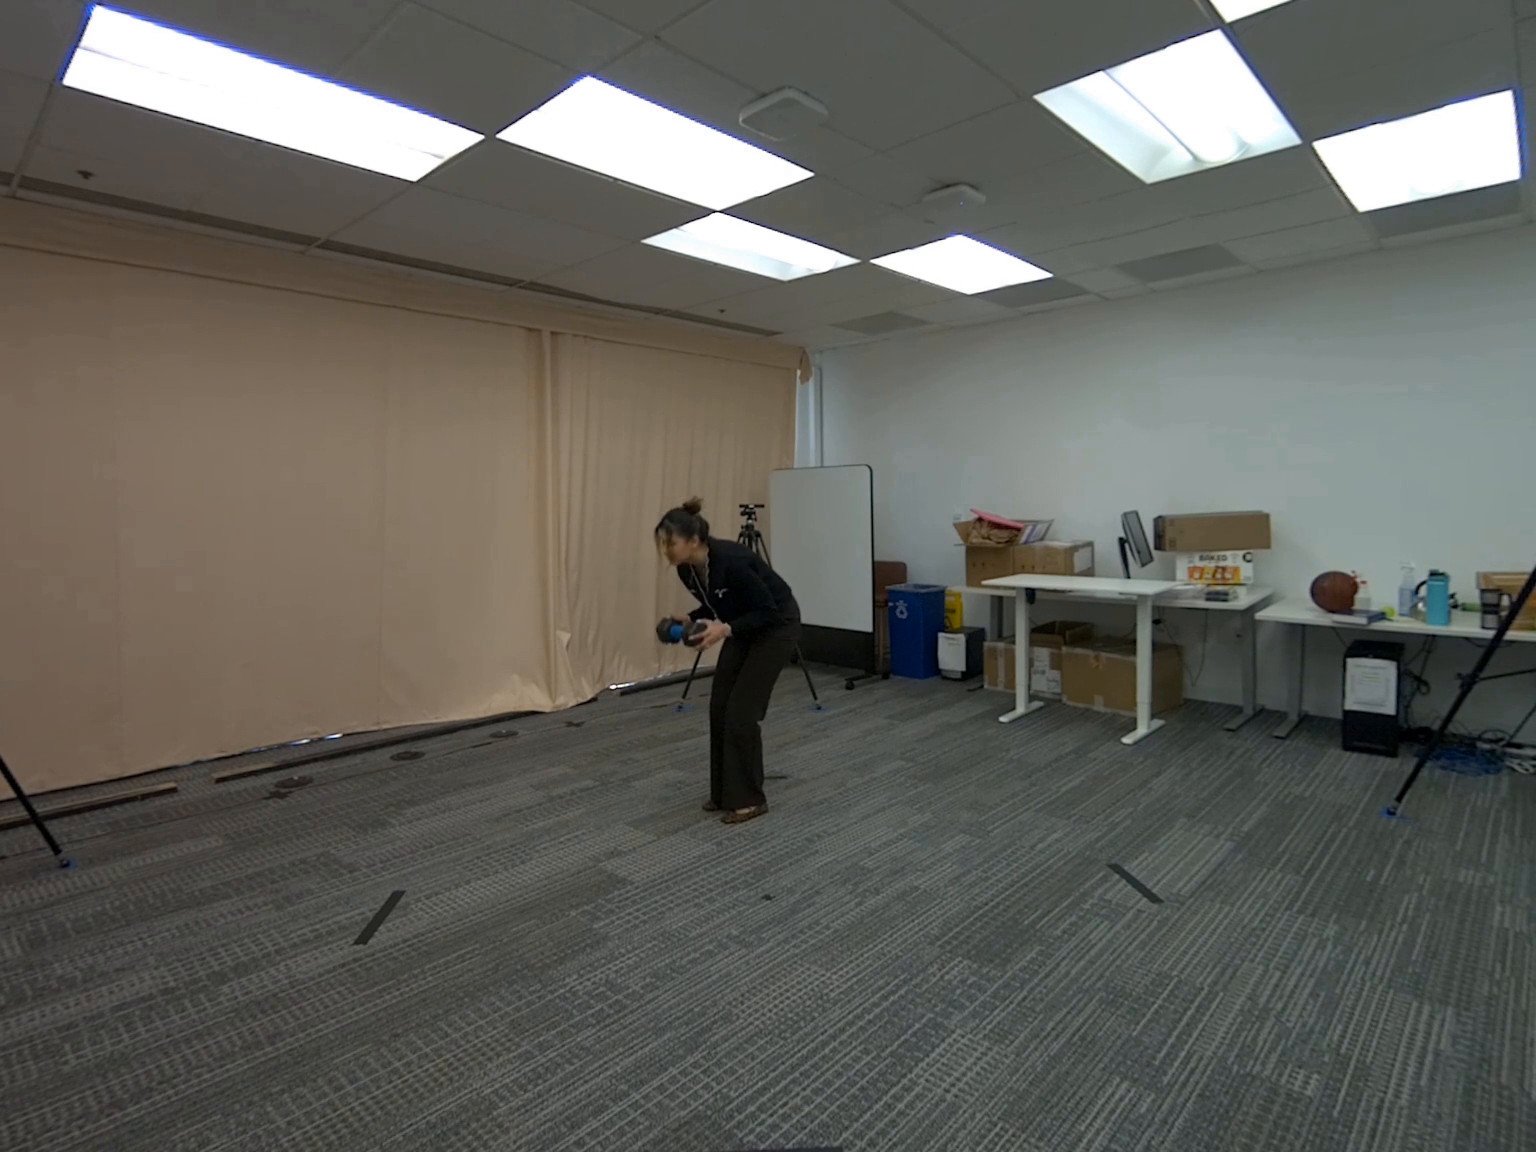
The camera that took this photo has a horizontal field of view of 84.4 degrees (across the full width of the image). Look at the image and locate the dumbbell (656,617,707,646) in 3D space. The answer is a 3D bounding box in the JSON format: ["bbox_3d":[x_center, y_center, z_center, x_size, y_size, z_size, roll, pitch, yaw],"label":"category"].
[{"bbox_3d":[-0.362,0.247,3.681,0.119,0.109,0.303,4,0,-38],"label":"dumbbell"}]
